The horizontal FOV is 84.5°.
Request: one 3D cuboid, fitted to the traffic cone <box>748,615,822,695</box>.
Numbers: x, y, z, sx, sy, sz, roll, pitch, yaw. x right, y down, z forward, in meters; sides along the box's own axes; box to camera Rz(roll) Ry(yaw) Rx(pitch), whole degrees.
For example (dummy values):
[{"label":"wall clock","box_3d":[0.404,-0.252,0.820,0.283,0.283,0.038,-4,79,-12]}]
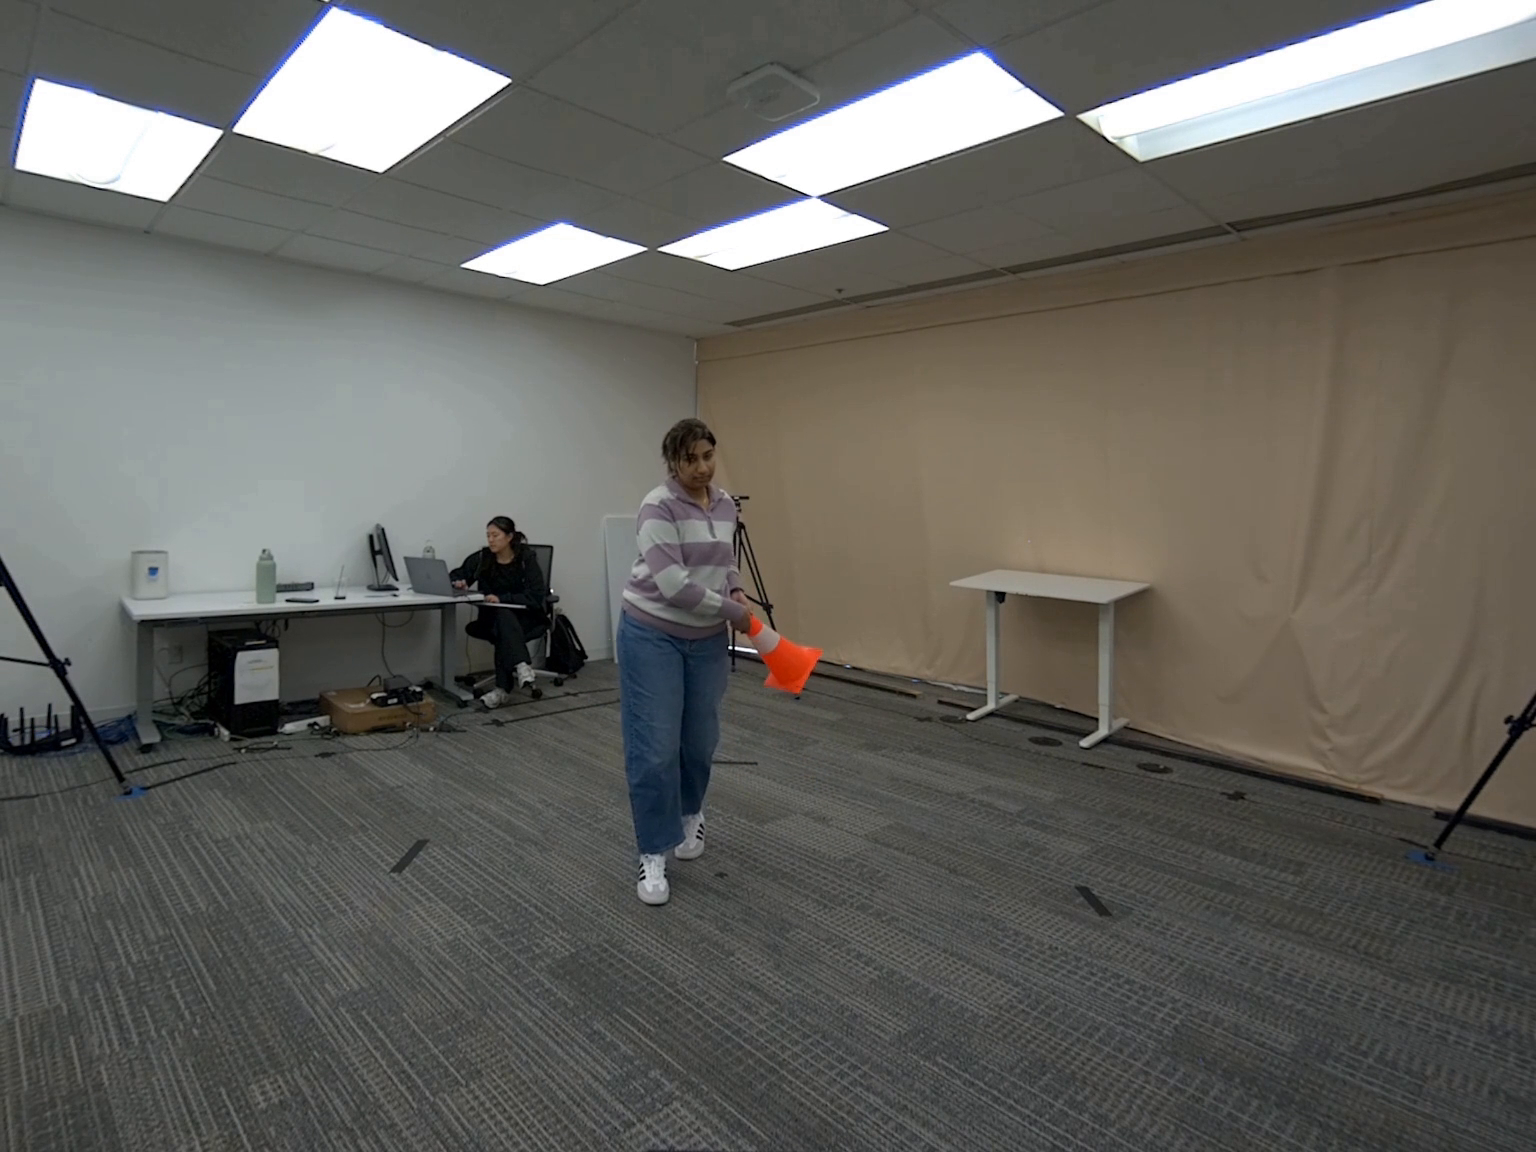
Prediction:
[{"label":"traffic cone","box_3d":[-0.021,0.240,3.135,0.210,0.204,0.373,4,-37,53]}]
